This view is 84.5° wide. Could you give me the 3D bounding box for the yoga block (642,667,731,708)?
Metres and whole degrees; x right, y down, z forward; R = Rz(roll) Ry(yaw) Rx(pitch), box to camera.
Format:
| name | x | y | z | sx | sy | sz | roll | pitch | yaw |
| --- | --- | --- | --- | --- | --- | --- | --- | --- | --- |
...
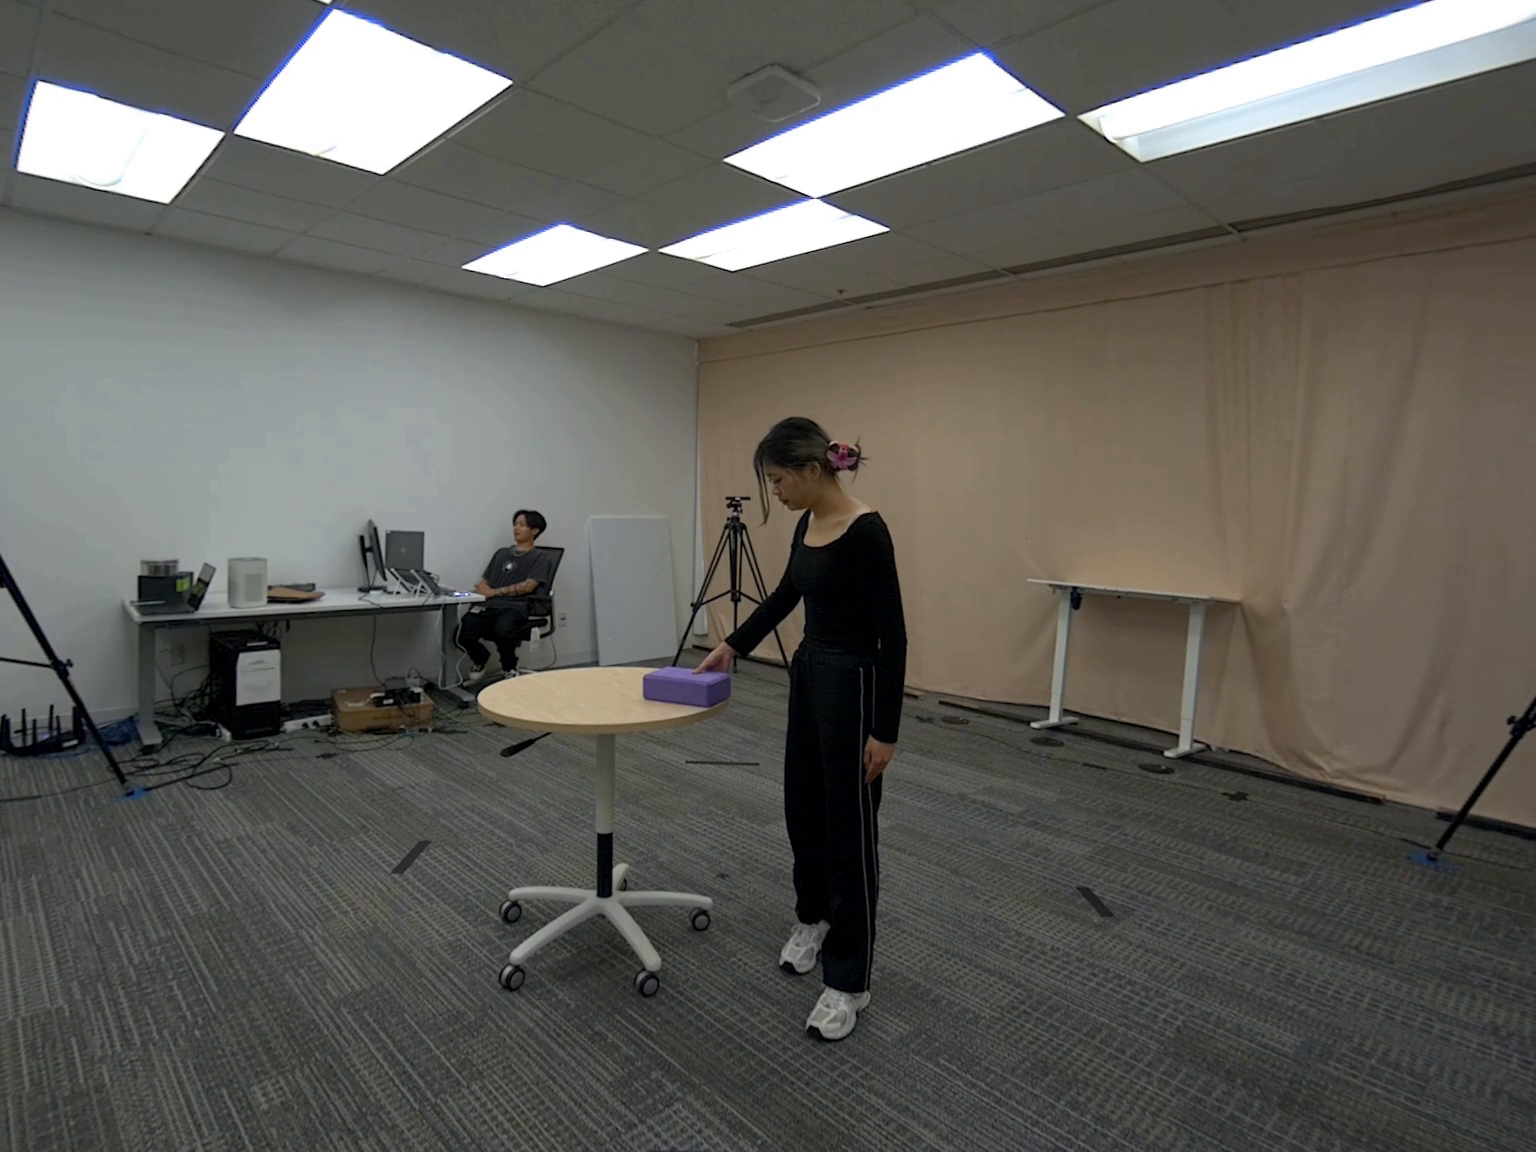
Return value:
| name | x | y | z | sx | sy | sz | roll | pitch | yaw |
| --- | --- | --- | --- | --- | --- | --- | --- | --- | --- |
| yoga block | -0.250 | 0.334 | 2.517 | 0.234 | 0.076 | 0.147 | 2 | 6 | 25 |
